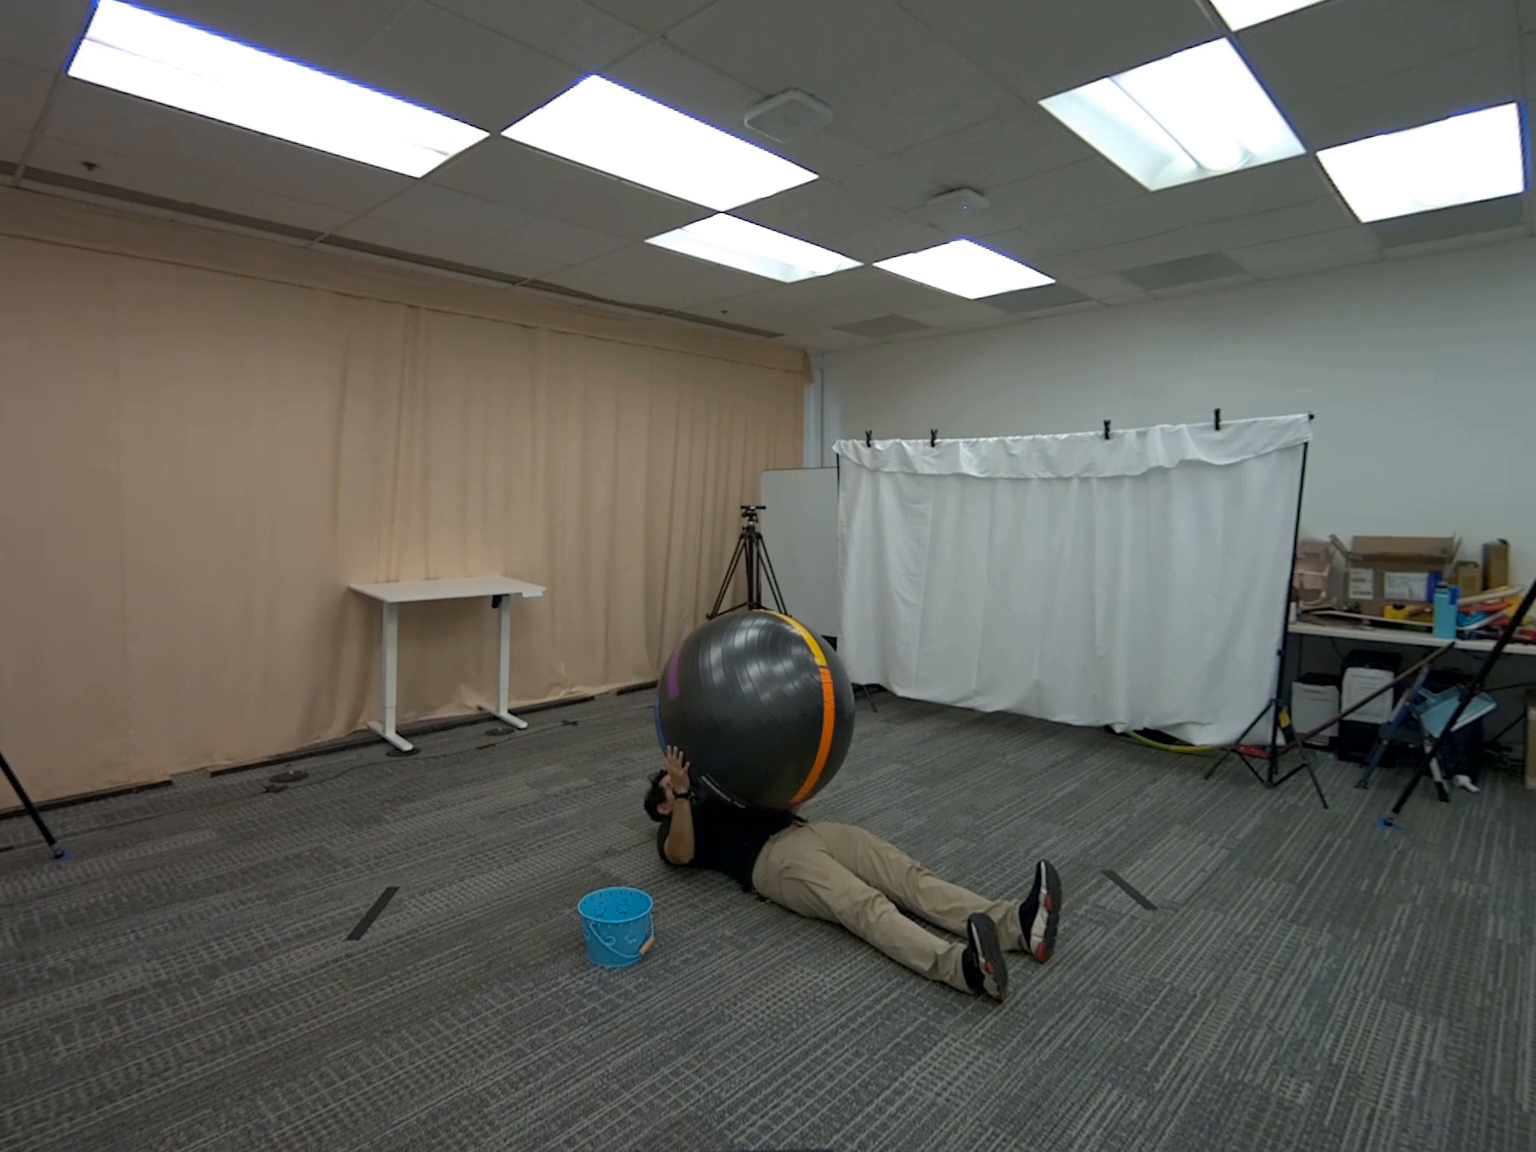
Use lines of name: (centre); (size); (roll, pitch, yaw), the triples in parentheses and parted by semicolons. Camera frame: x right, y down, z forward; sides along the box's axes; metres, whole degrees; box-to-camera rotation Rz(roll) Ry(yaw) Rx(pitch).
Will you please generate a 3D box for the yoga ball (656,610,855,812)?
yoga ball: (-0.048, 0.512, 3.196); (0.757, 0.756, 0.761); (0, 4, -2)
